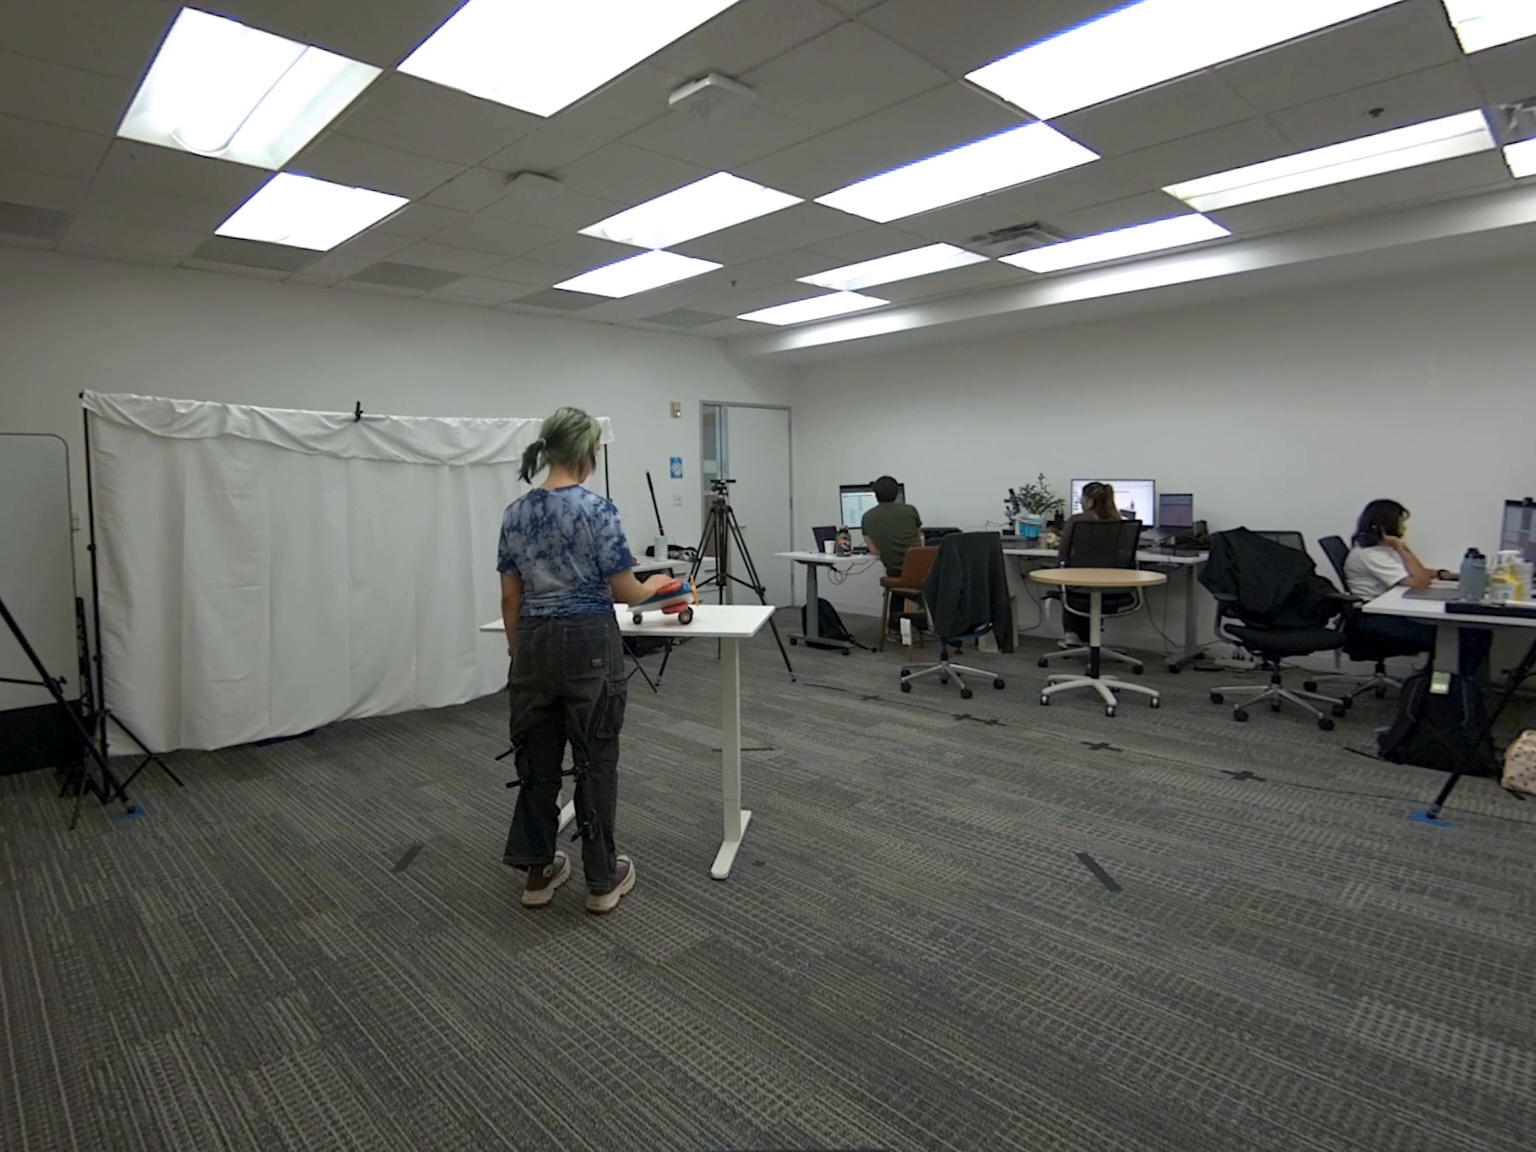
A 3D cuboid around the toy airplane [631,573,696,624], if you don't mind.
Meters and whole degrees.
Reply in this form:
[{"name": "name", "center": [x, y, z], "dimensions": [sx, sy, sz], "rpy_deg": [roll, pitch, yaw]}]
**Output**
[{"name": "toy airplane", "center": [-0.380, 0.099, 3.100], "dimensions": [0.253, 0.155, 0.258], "rpy_deg": [-4, 8, -29]}]
